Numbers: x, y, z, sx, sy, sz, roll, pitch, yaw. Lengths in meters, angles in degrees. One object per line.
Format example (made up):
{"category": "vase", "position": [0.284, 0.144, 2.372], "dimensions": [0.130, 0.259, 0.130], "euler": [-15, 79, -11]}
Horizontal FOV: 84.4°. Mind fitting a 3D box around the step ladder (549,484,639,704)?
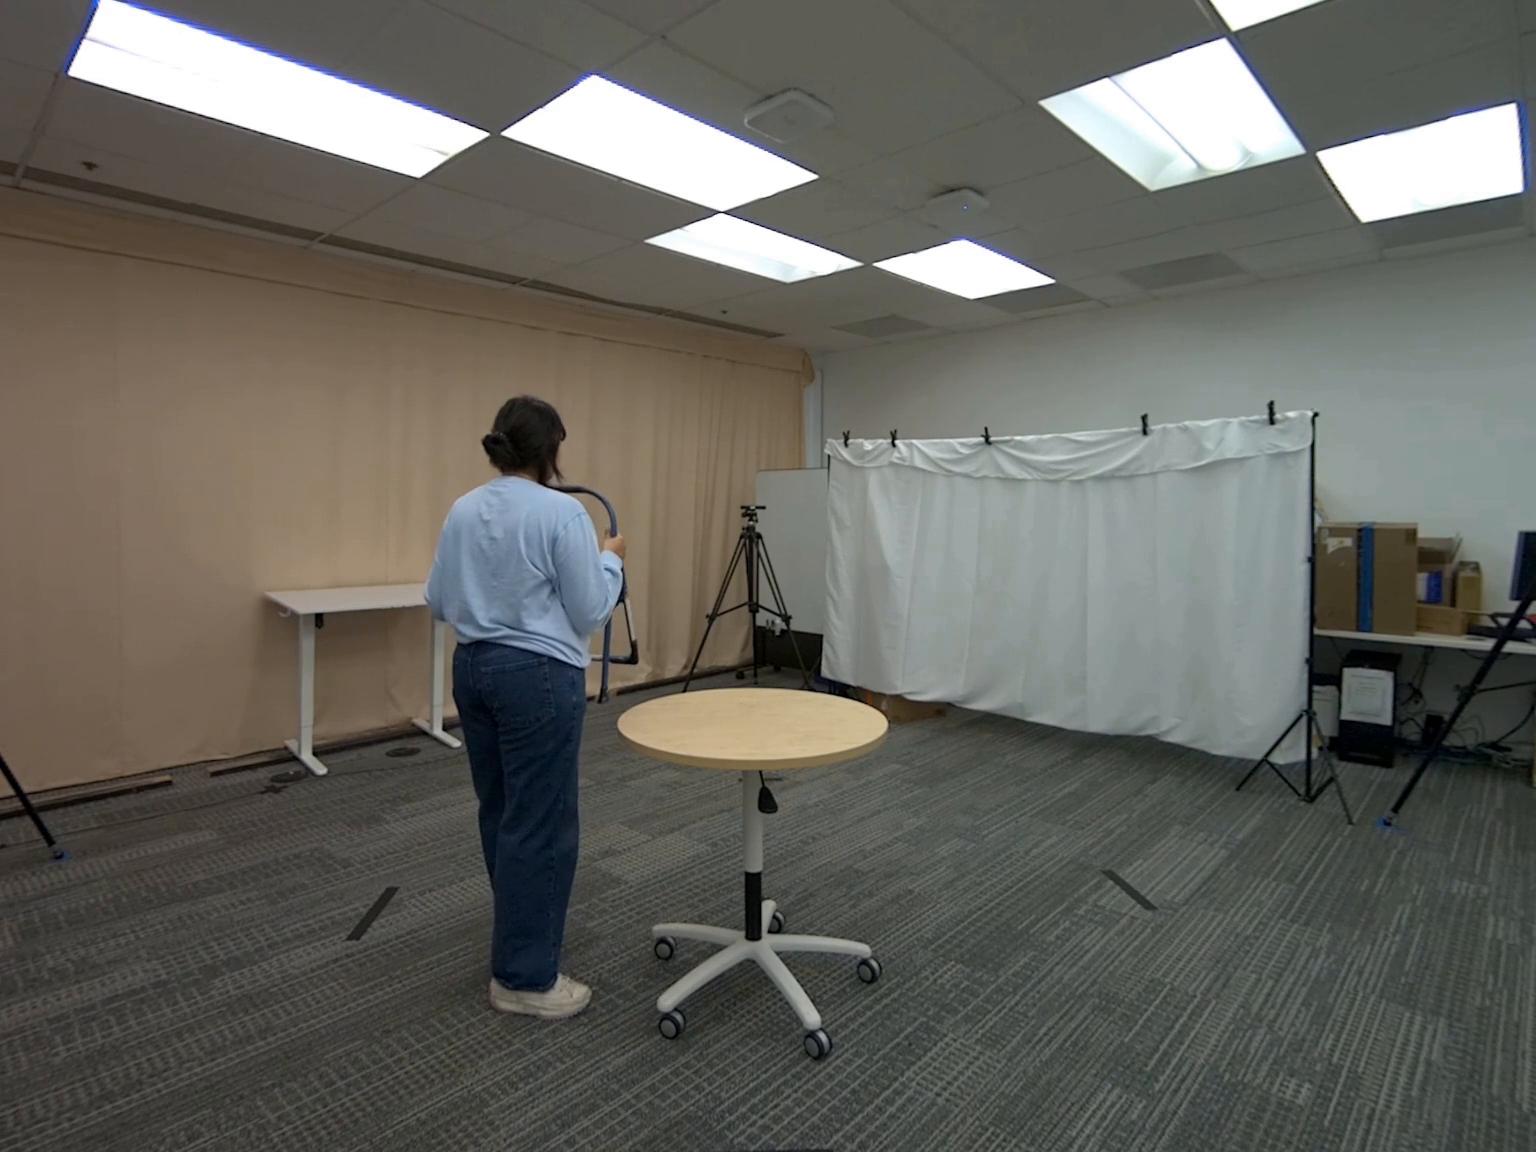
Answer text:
{"category": "step ladder", "position": [-0.666, 0.030, 2.618], "dimensions": [0.436, 0.601, 0.348], "euler": [2, 12, 10]}
